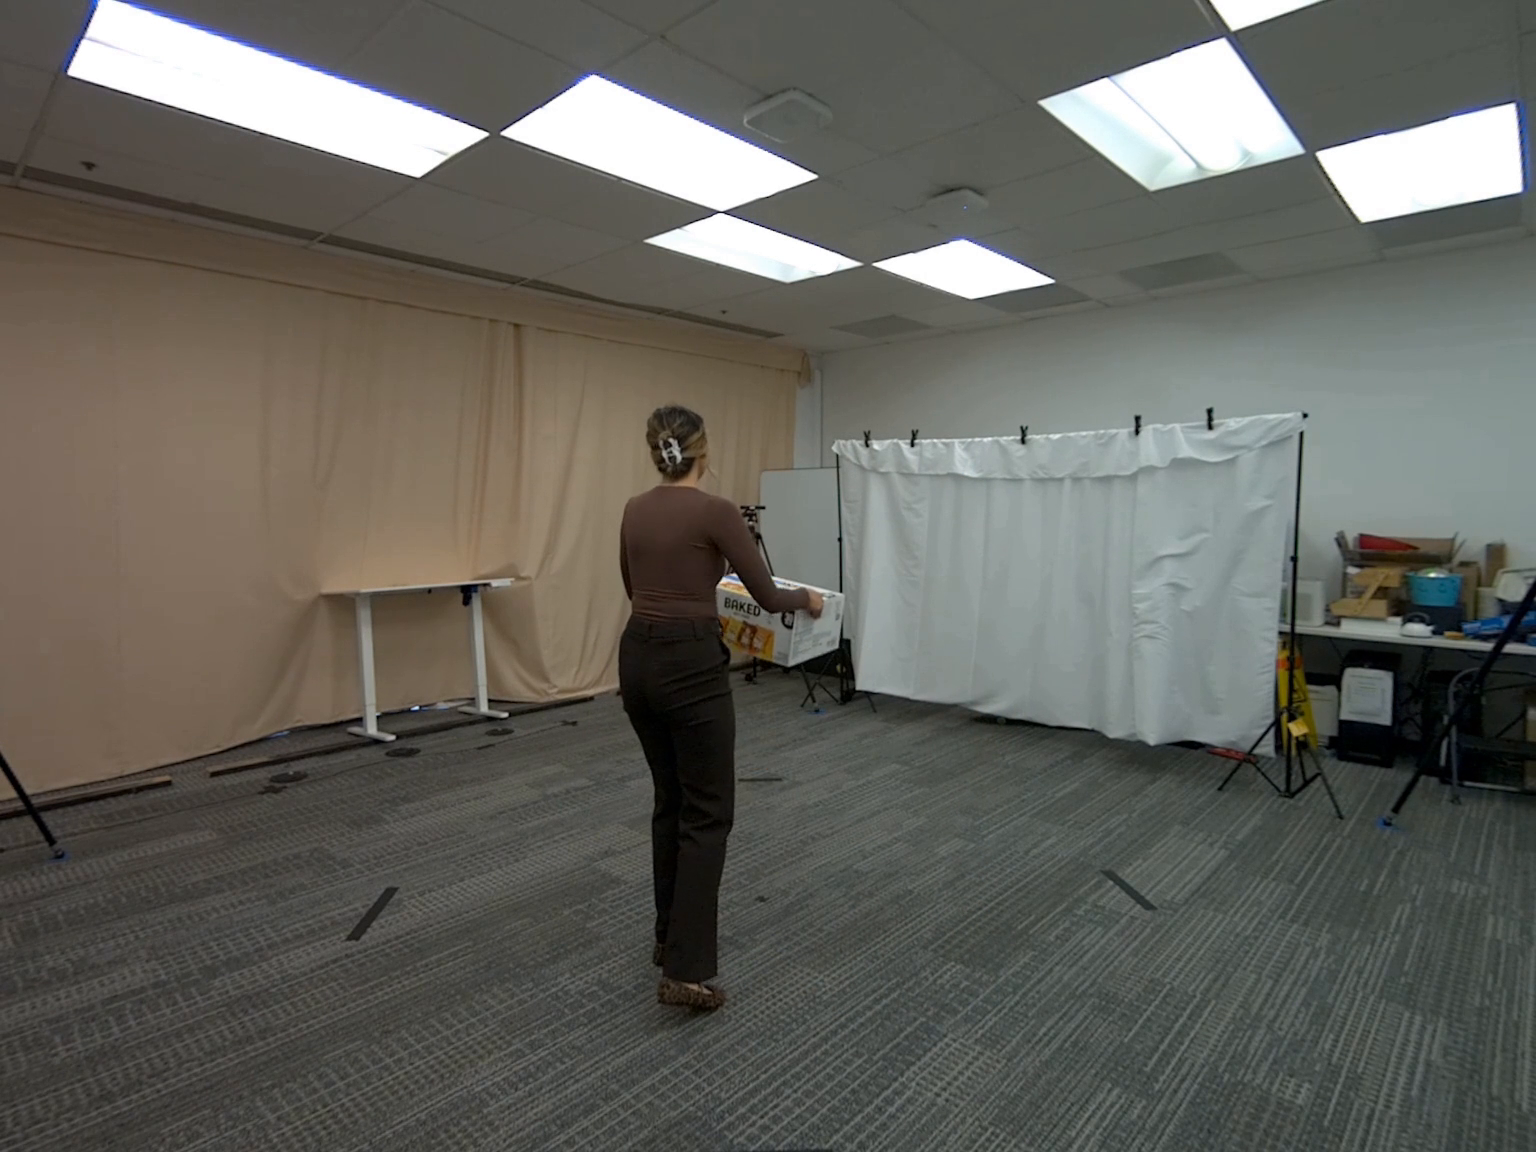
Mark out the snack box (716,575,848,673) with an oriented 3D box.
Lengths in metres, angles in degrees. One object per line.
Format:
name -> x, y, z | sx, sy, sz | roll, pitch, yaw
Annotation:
snack box -> 0.006, 0.144, 2.960 | 0.419, 0.204, 0.331 | 13, 15, 33
